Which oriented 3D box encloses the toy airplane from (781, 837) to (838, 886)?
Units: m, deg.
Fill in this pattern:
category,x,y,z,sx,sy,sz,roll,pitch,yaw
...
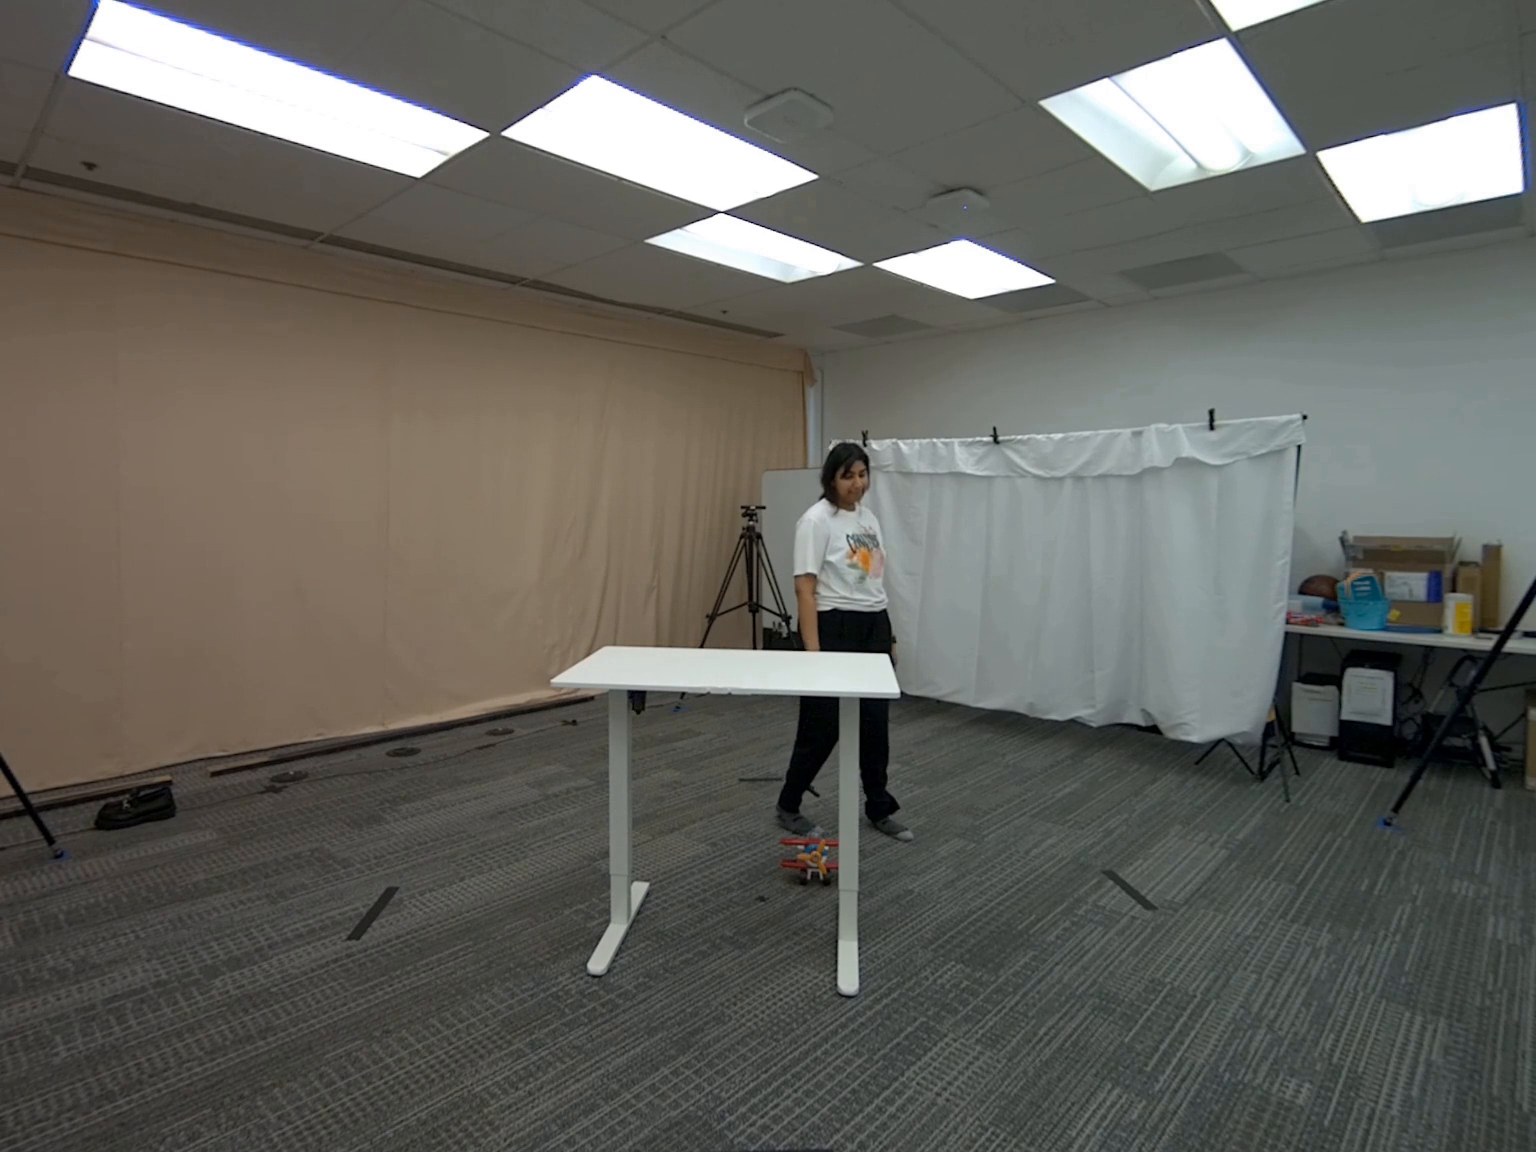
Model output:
category,x,y,z,sx,sy,sz,roll,pitch,yaw
toy airplane,0.151,1.046,3.178,0.245,0.156,0.267,-3,7,-27
